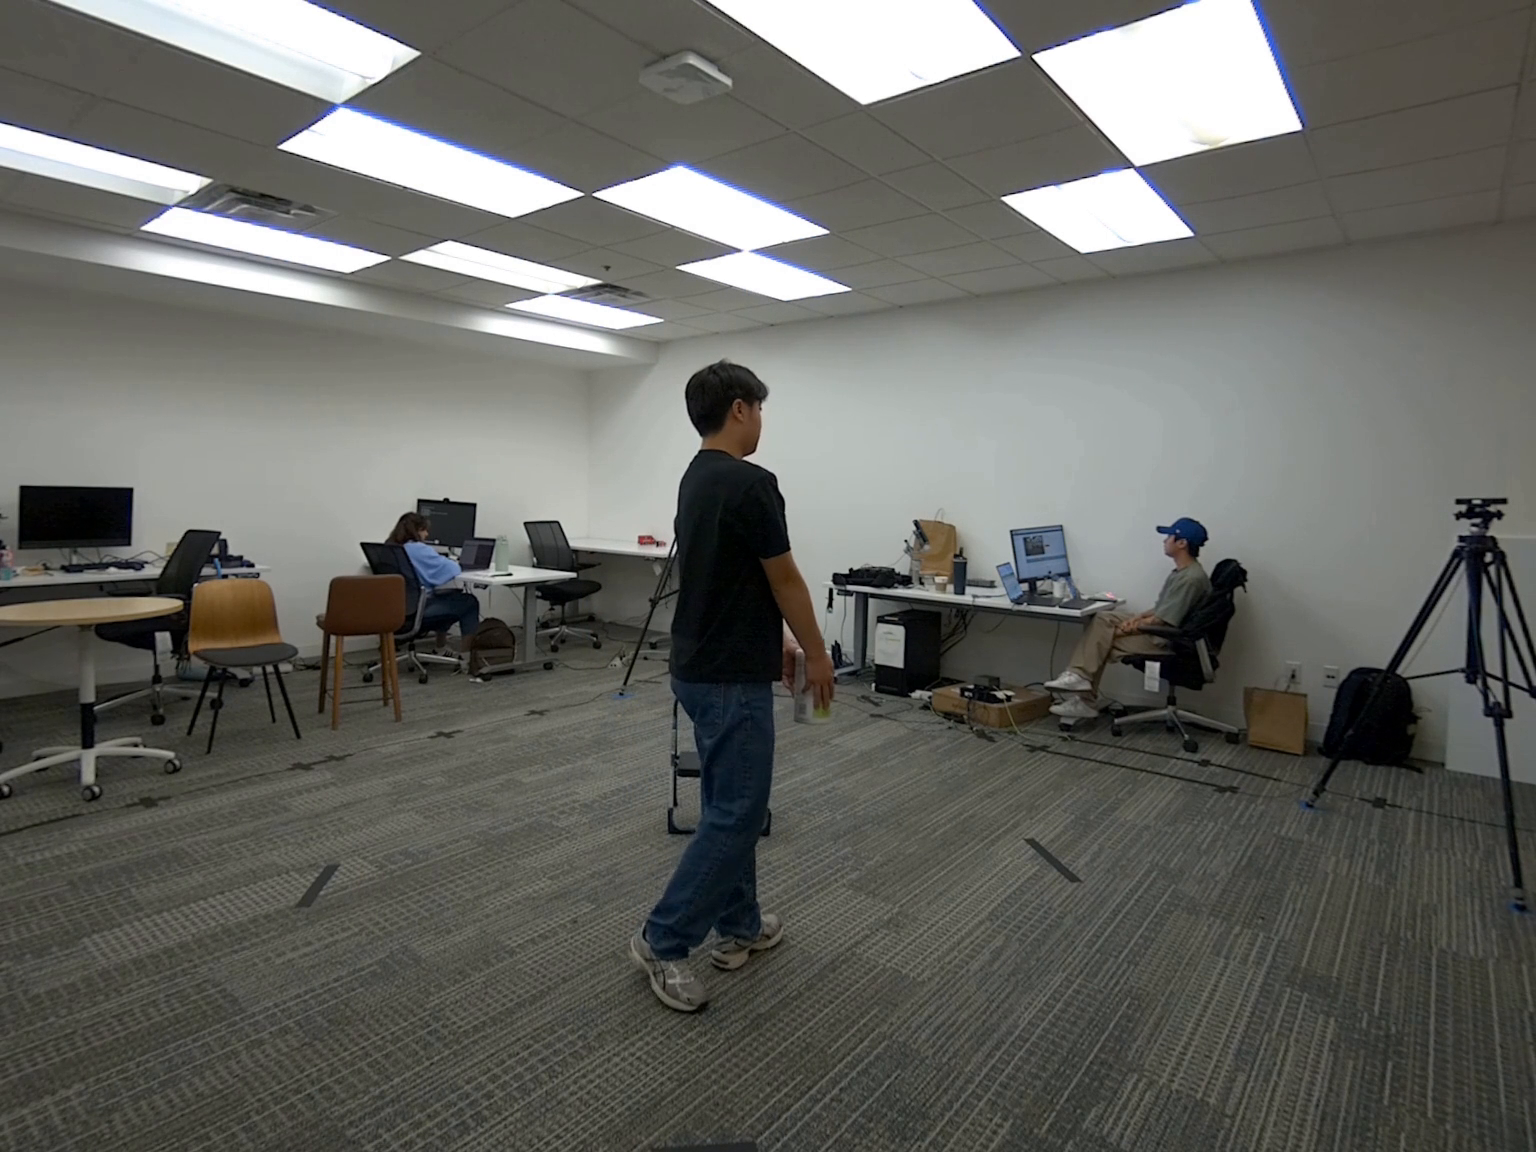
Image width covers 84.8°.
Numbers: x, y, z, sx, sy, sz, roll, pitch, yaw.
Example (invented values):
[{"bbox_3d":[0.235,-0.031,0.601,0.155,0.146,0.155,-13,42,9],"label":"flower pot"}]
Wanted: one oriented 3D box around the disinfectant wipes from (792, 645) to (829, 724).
[{"bbox_3d":[0.120,0.328,2.545,0.118,0.218,0.118,2,-1,-2],"label":"disinfectant wipes"}]
